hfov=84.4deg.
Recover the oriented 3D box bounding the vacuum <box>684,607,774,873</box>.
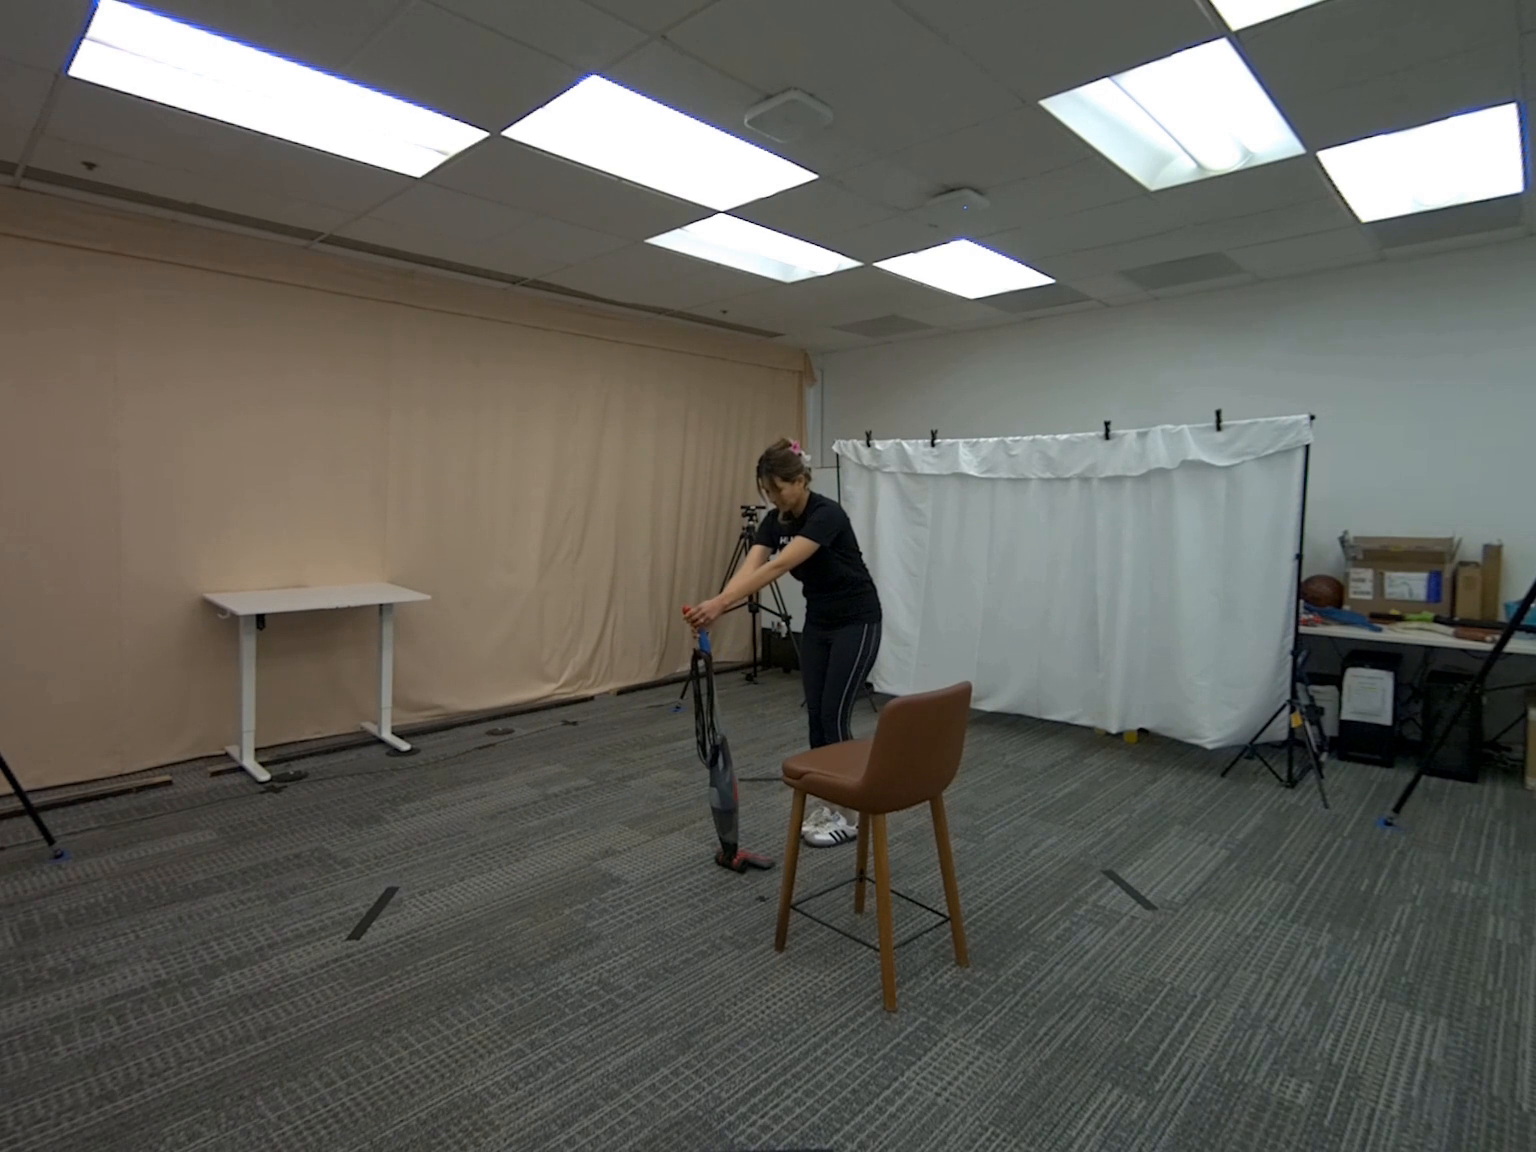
[{"bbox_3d":[-0.203,0.626,3.173,0.261,1.039,0.141,0,16,44],"label":"vacuum"}]
